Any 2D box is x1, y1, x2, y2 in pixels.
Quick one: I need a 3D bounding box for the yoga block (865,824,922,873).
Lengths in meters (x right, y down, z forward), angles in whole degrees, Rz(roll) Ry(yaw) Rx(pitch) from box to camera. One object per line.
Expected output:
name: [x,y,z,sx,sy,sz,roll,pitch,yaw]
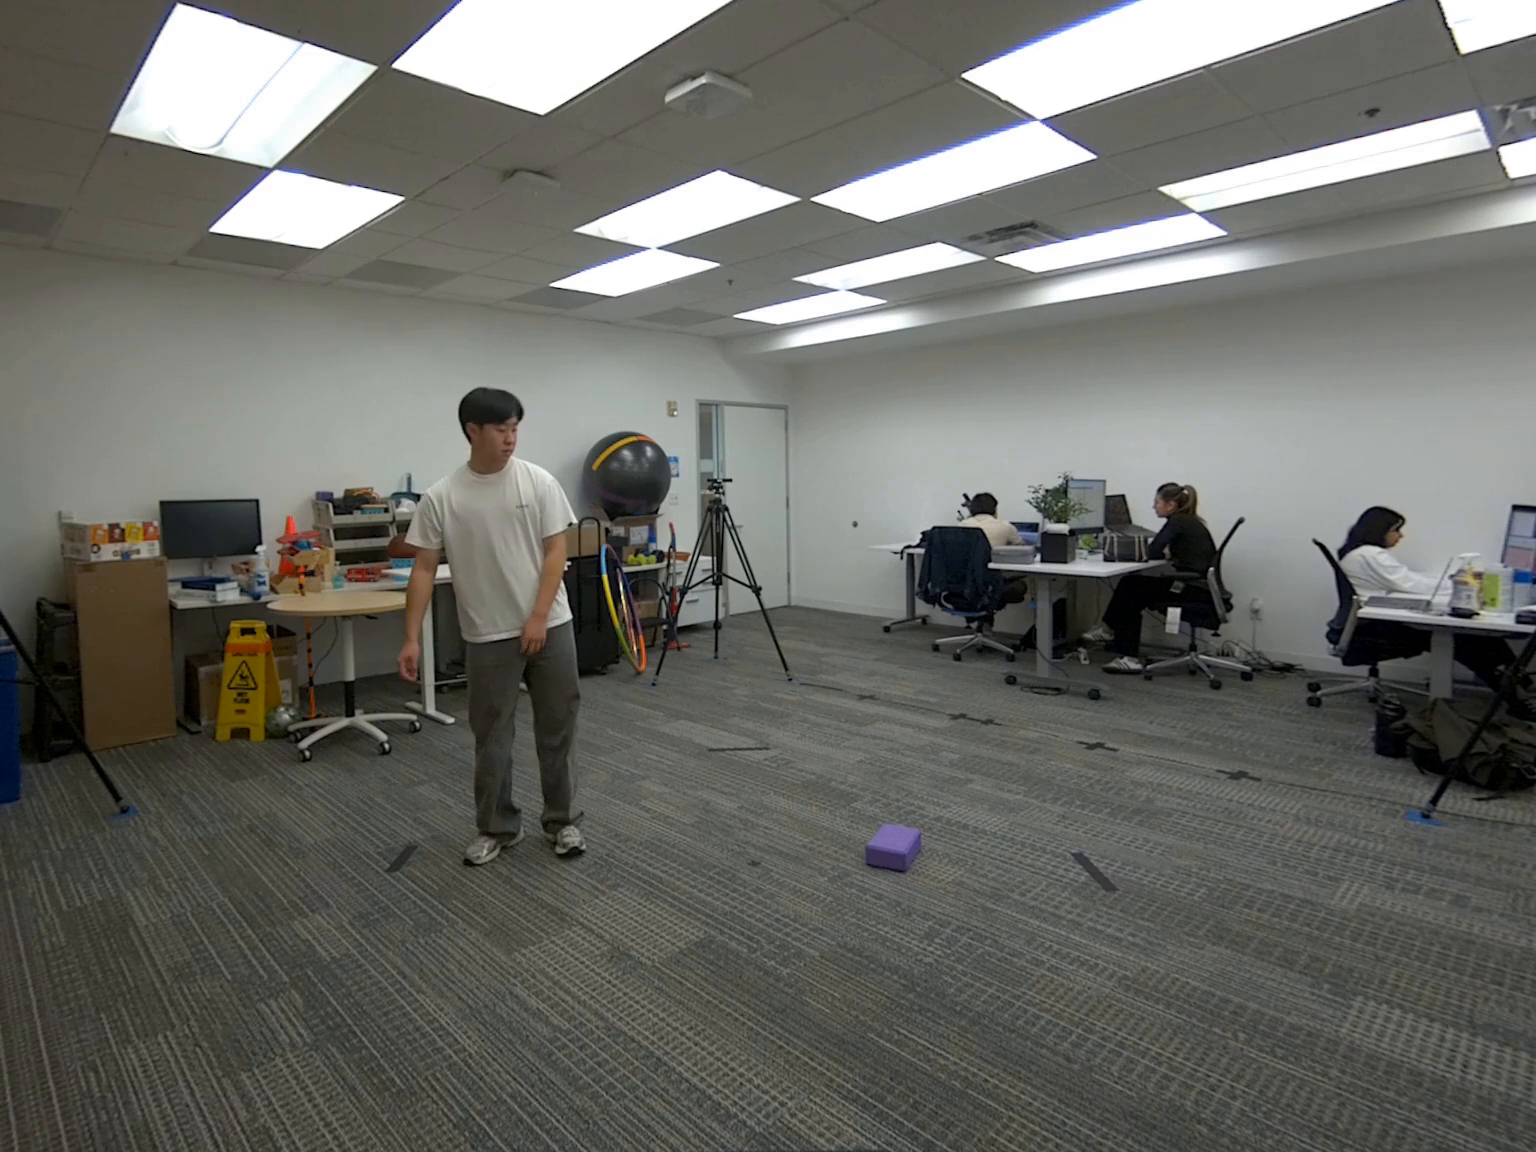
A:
yoga block: [0.460,0.984,3.134,0.153,0.076,0.225,2,6,27]
